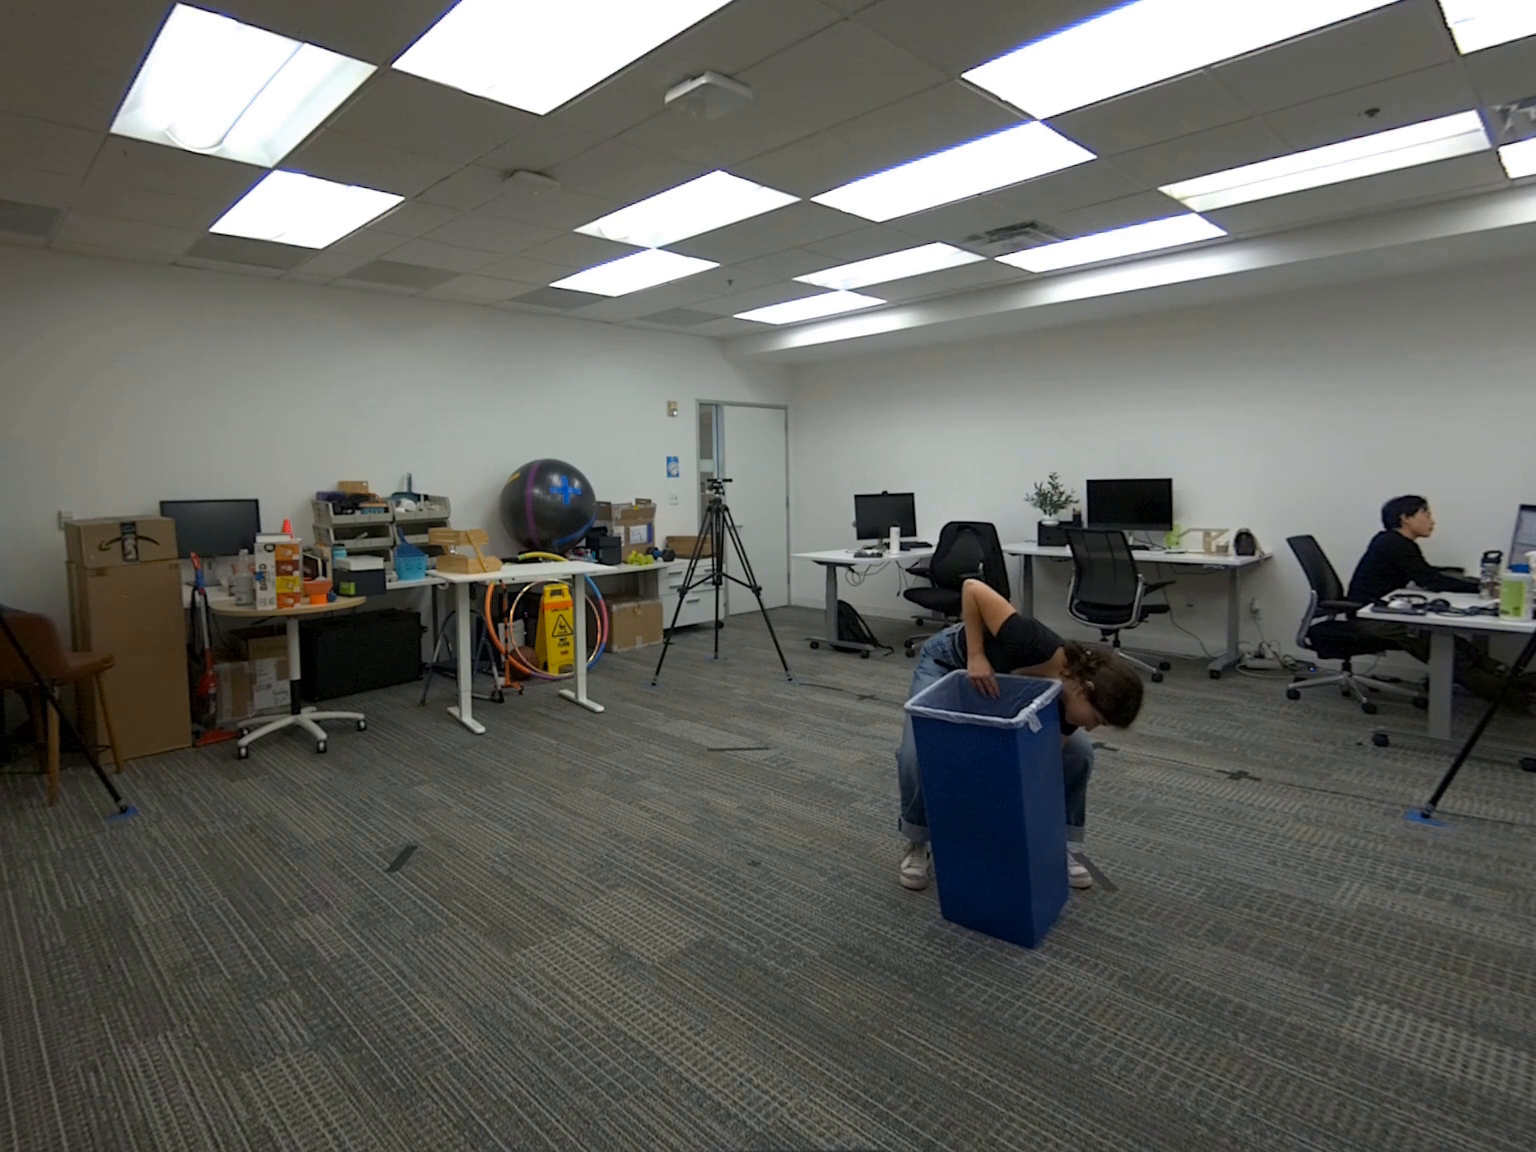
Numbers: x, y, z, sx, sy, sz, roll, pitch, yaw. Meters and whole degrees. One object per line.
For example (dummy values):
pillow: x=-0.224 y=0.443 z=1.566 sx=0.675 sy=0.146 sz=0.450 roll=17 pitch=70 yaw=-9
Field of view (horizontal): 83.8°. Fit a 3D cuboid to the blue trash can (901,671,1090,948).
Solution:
blue trash can: x=0.708 y=0.707 z=2.641 sx=0.389 sy=0.708 sz=0.366 roll=1 pitch=11 yaw=43
